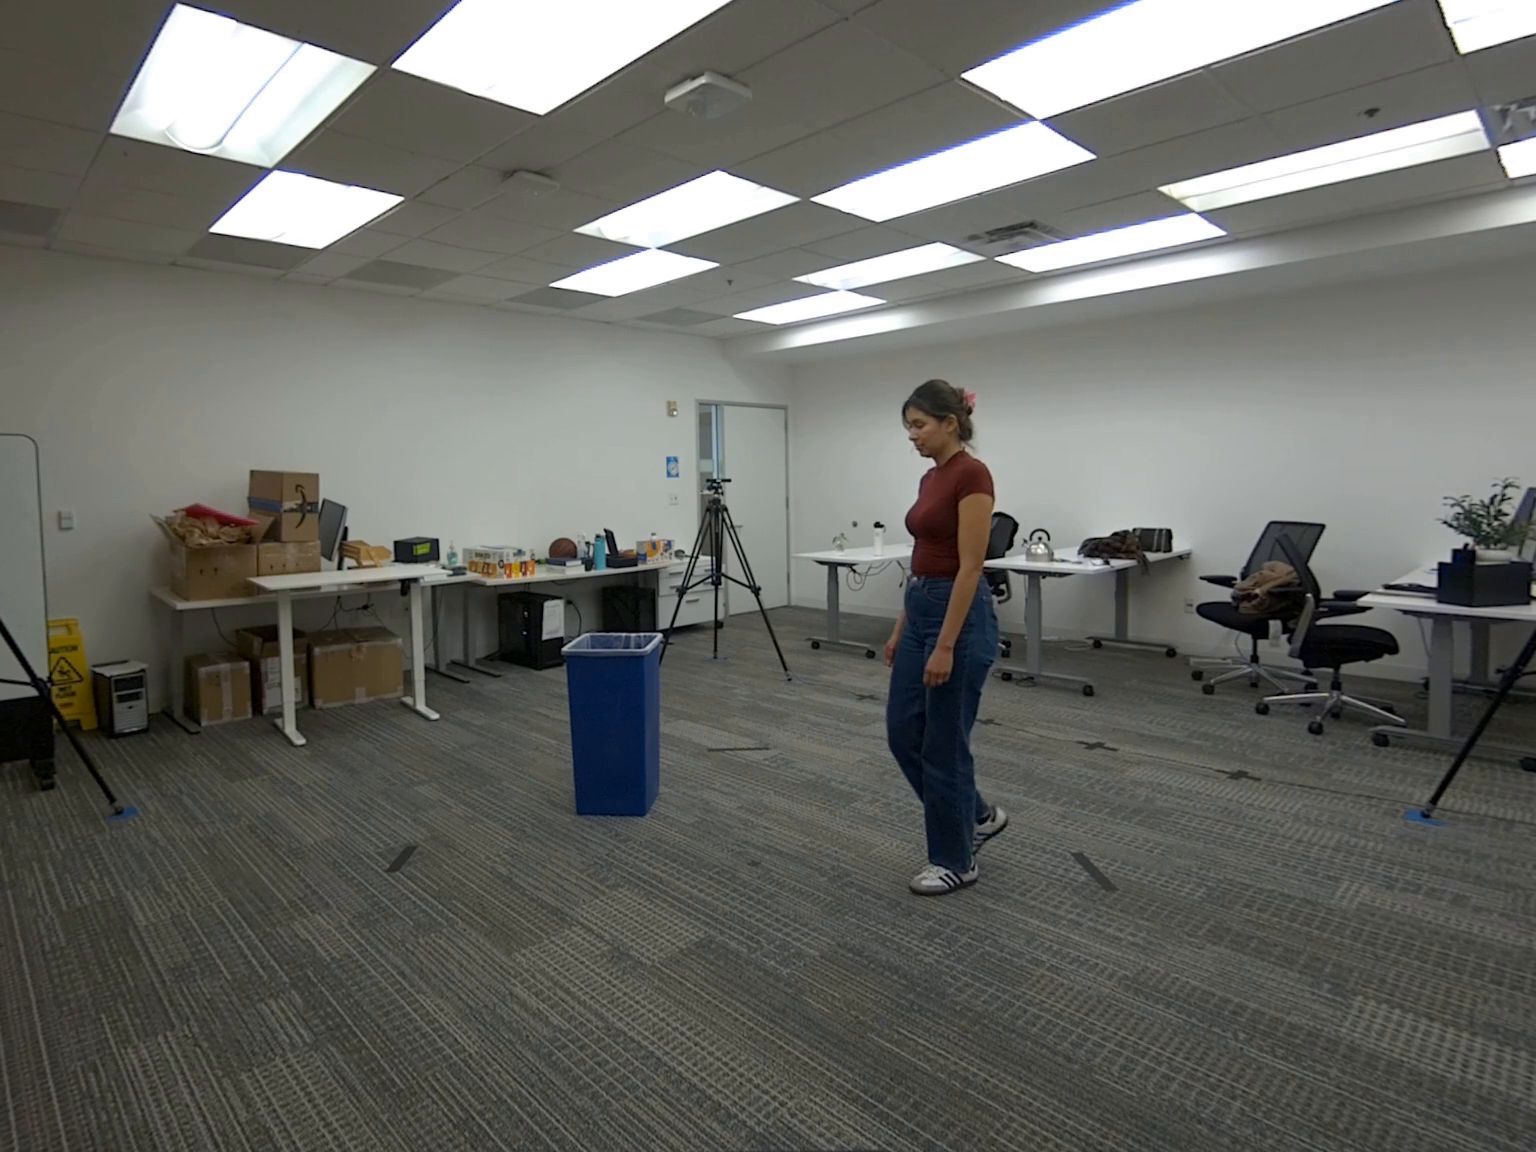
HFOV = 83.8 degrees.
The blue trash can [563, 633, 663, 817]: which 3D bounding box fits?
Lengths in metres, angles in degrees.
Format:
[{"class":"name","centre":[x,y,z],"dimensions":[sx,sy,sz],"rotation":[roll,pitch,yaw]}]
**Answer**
[{"class":"blue trash can","centre":[-0.653,0.634,3.697],"dimensions":[0.380,0.711,0.373],"rotation":[-1,4,6]}]
